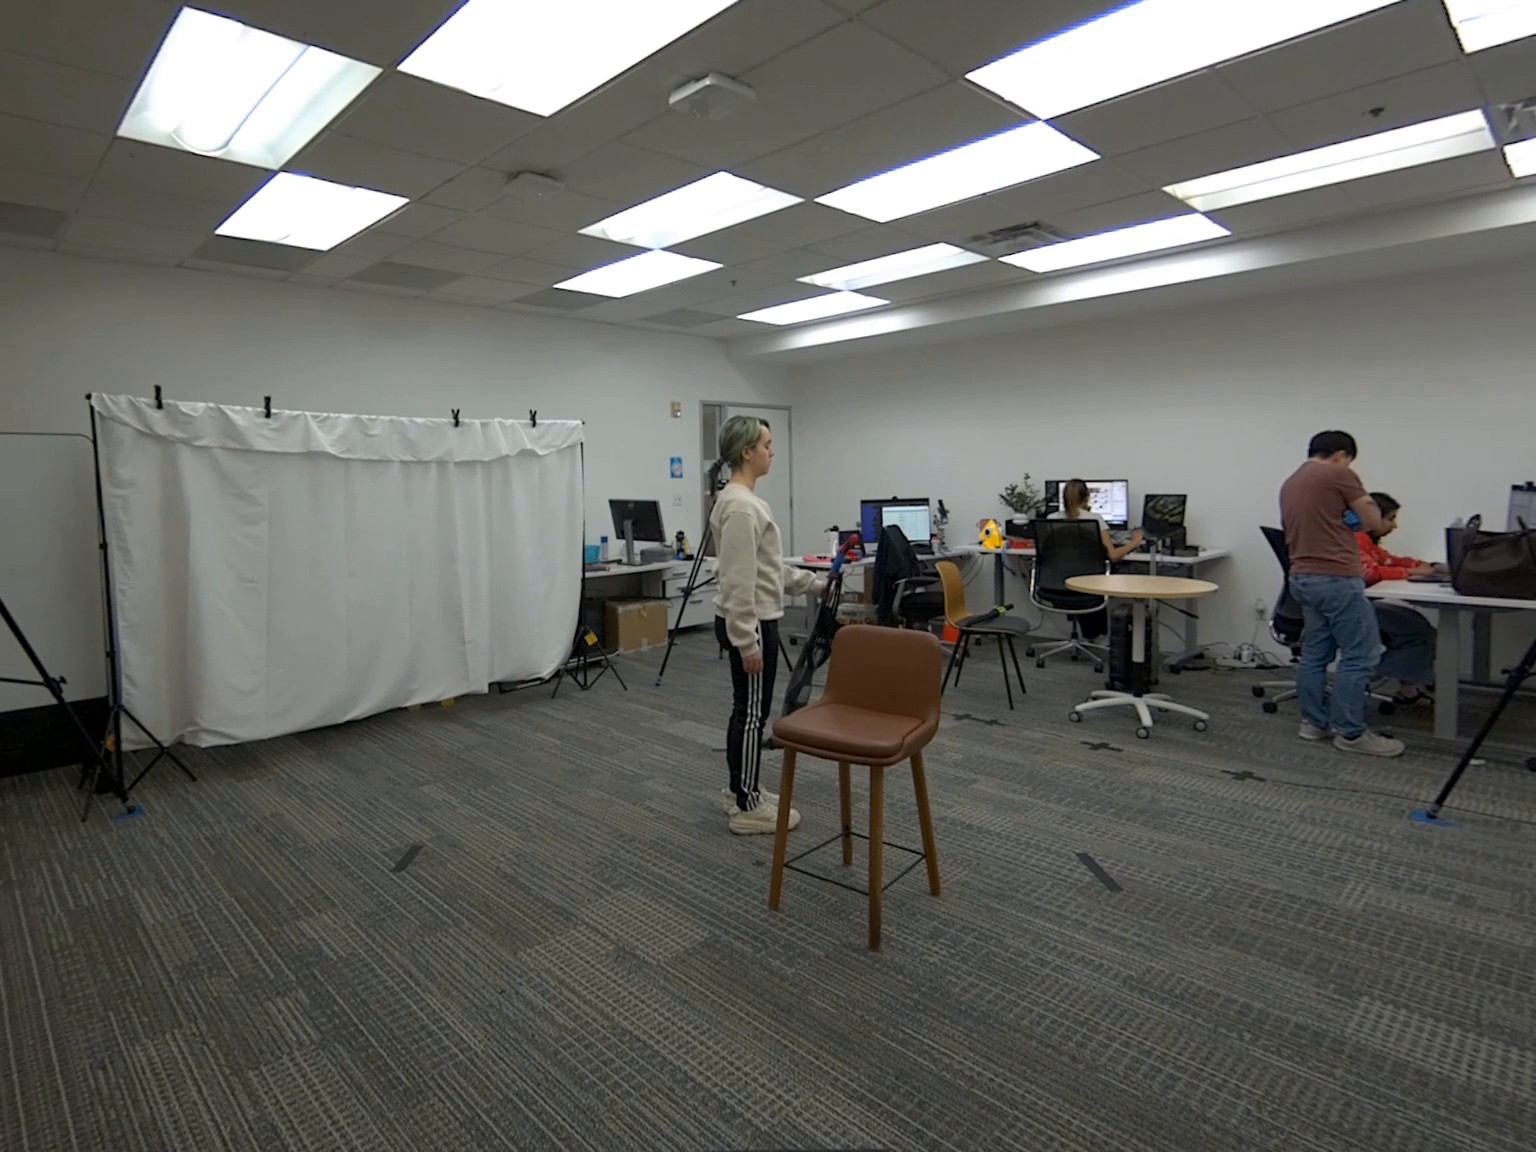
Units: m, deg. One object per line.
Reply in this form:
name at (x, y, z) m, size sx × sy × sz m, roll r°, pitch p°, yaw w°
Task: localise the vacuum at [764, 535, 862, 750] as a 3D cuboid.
vacuum at (0.209, 0.309, 3.651) m, size 0.245 × 1.038 × 0.150 m, roll 4°, pitch 26°, yaw -37°
